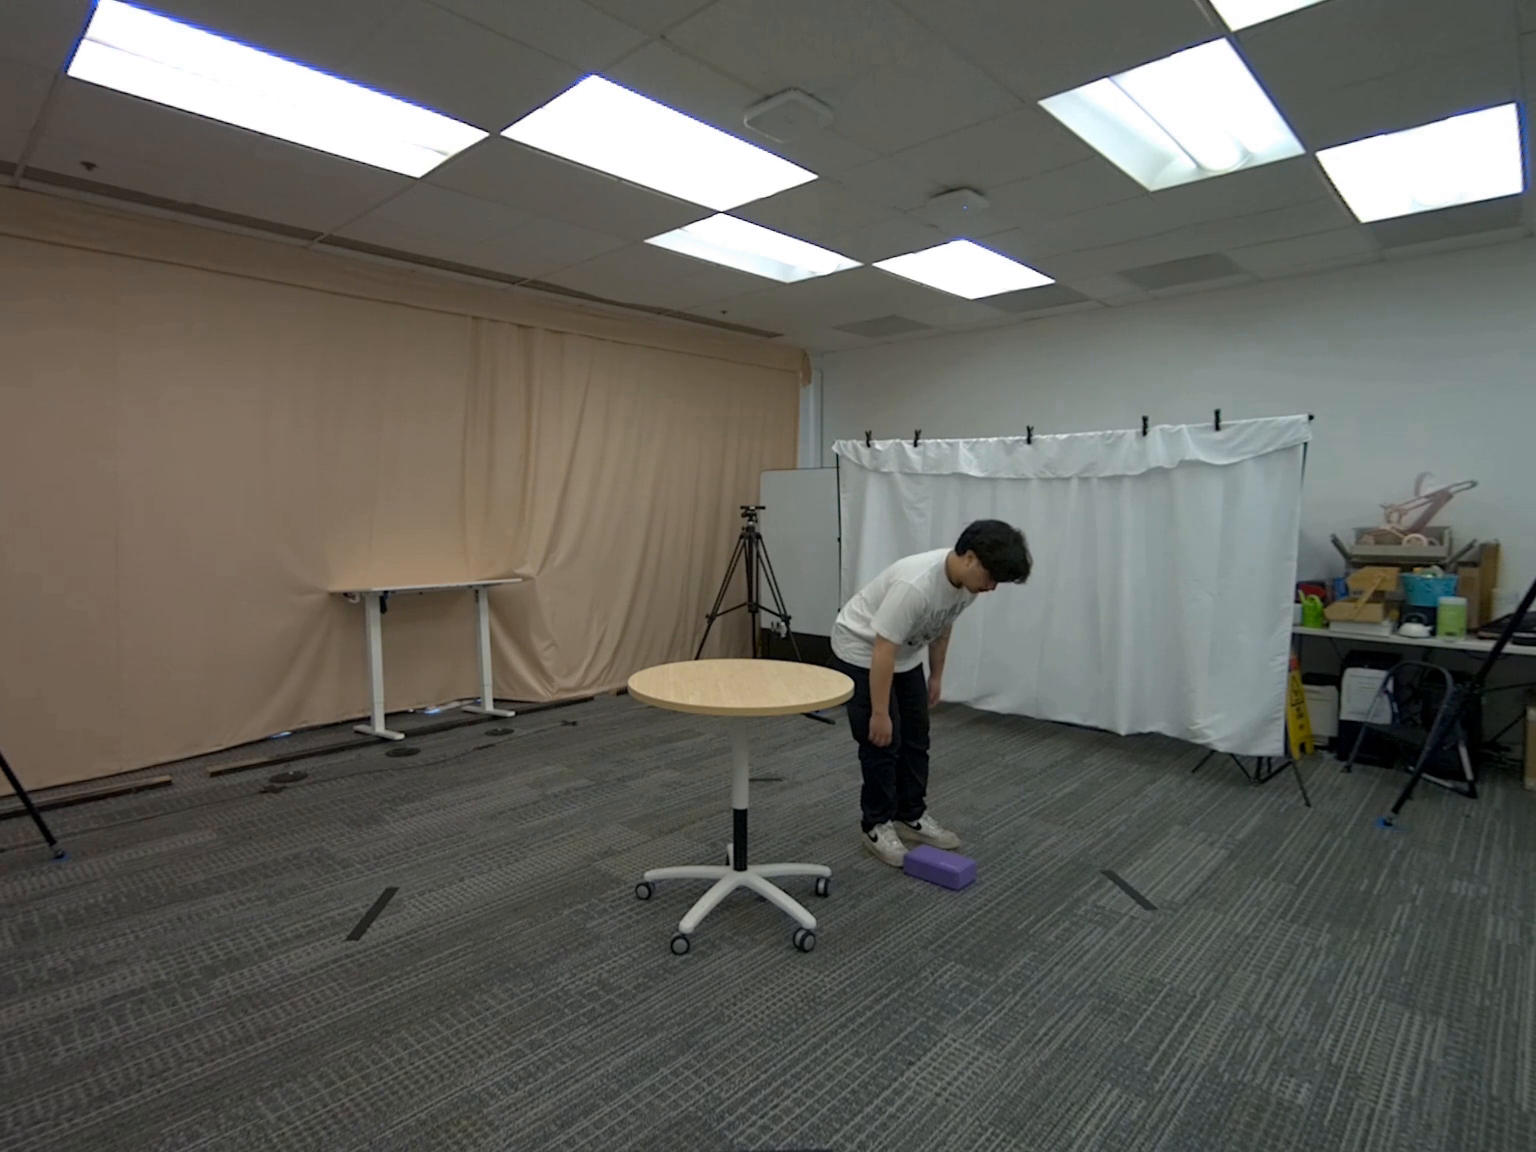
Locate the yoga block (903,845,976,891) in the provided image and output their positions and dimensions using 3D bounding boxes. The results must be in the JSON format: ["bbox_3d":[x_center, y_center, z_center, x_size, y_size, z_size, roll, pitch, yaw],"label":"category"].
[{"bbox_3d":[0.640,1.083,3.157,0.237,0.076,0.144,5,7,41],"label":"yoga block"}]
